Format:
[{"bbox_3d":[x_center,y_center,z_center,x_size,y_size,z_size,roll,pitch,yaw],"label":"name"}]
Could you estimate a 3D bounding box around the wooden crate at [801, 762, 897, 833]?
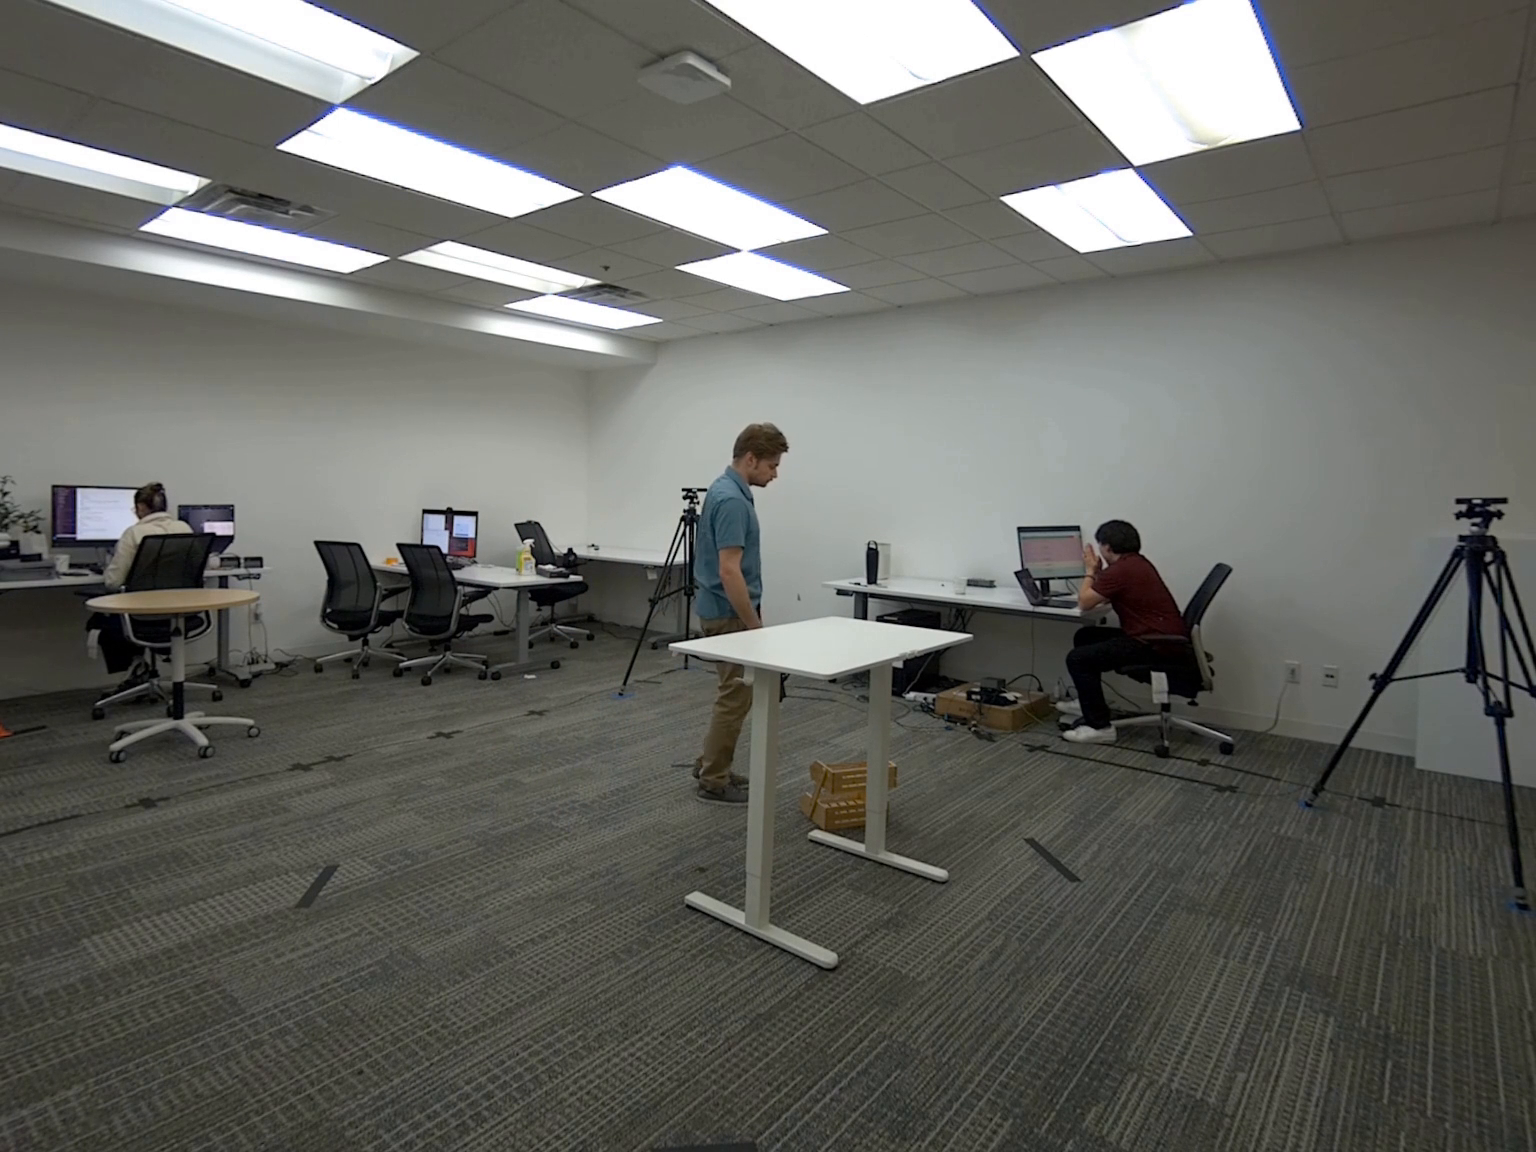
[{"bbox_3d":[0.327,0.894,3.634,0.317,0.272,0.310,-1,5,-23],"label":"wooden crate"}]
